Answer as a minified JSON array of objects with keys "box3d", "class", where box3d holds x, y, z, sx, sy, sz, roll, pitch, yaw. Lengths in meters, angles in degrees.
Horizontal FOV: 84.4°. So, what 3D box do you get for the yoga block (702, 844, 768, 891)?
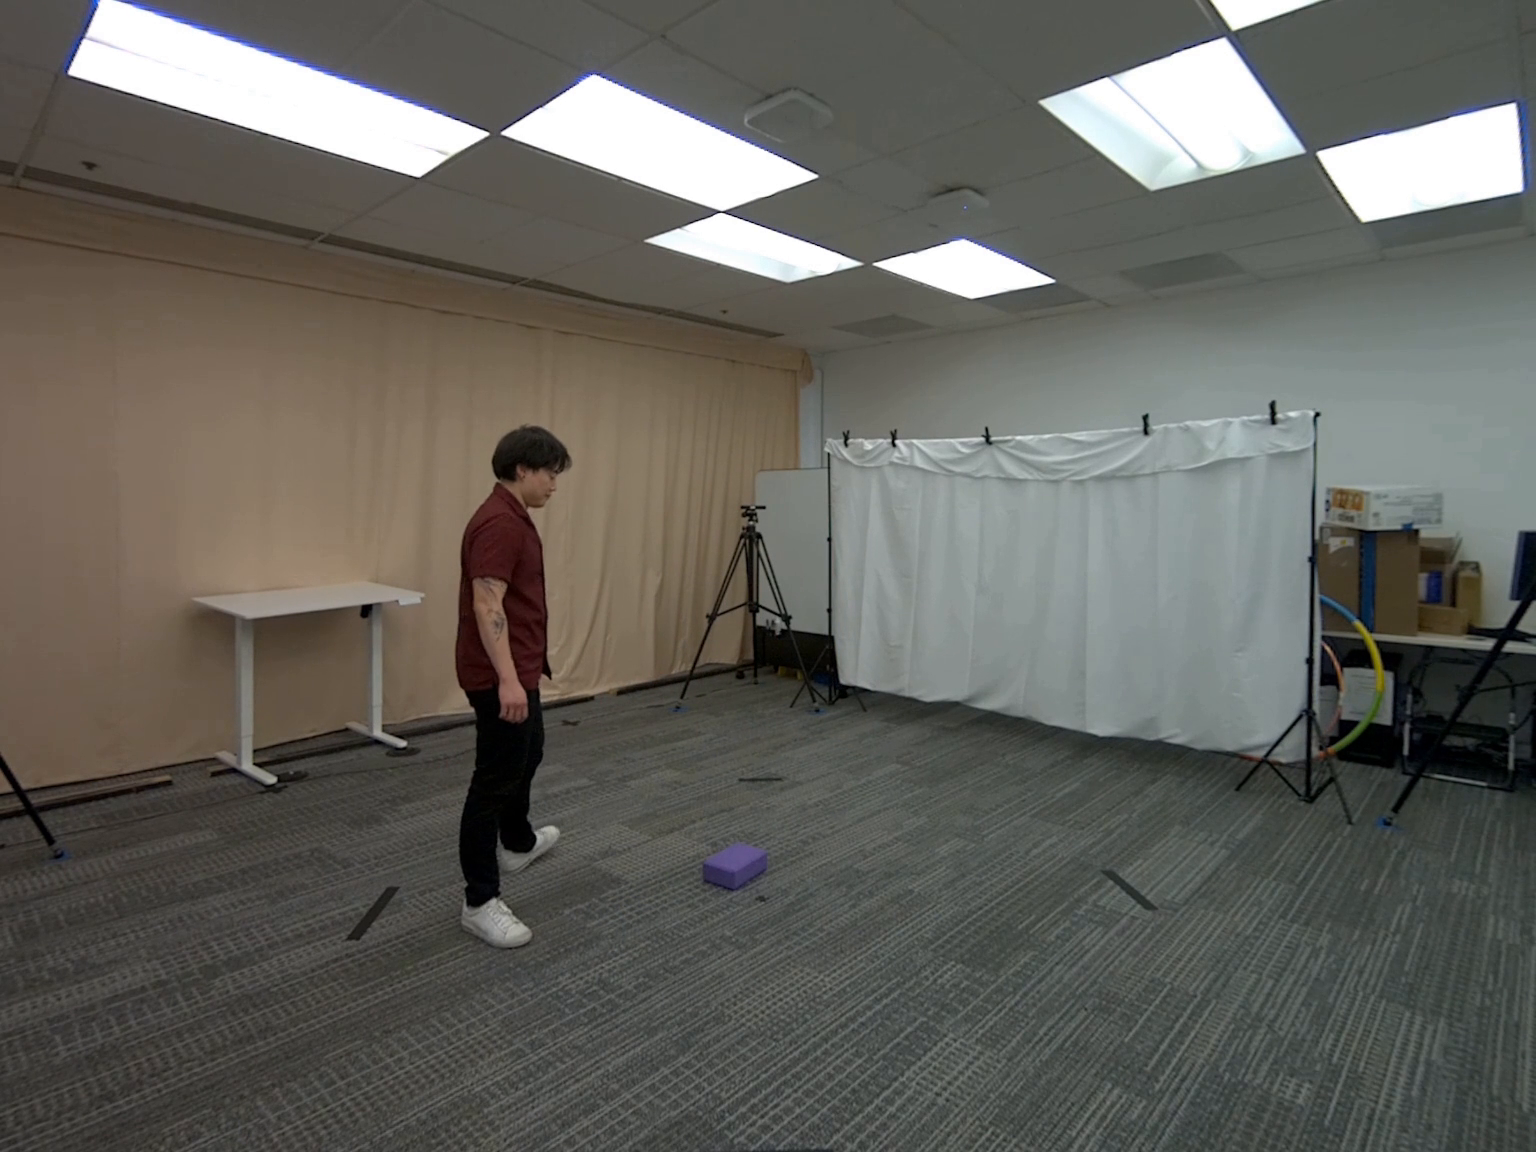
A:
[{"box3d":[-0.123,1.087,3.170,0.153,0.076,0.223,3,6,33],"class":"yoga block"}]
